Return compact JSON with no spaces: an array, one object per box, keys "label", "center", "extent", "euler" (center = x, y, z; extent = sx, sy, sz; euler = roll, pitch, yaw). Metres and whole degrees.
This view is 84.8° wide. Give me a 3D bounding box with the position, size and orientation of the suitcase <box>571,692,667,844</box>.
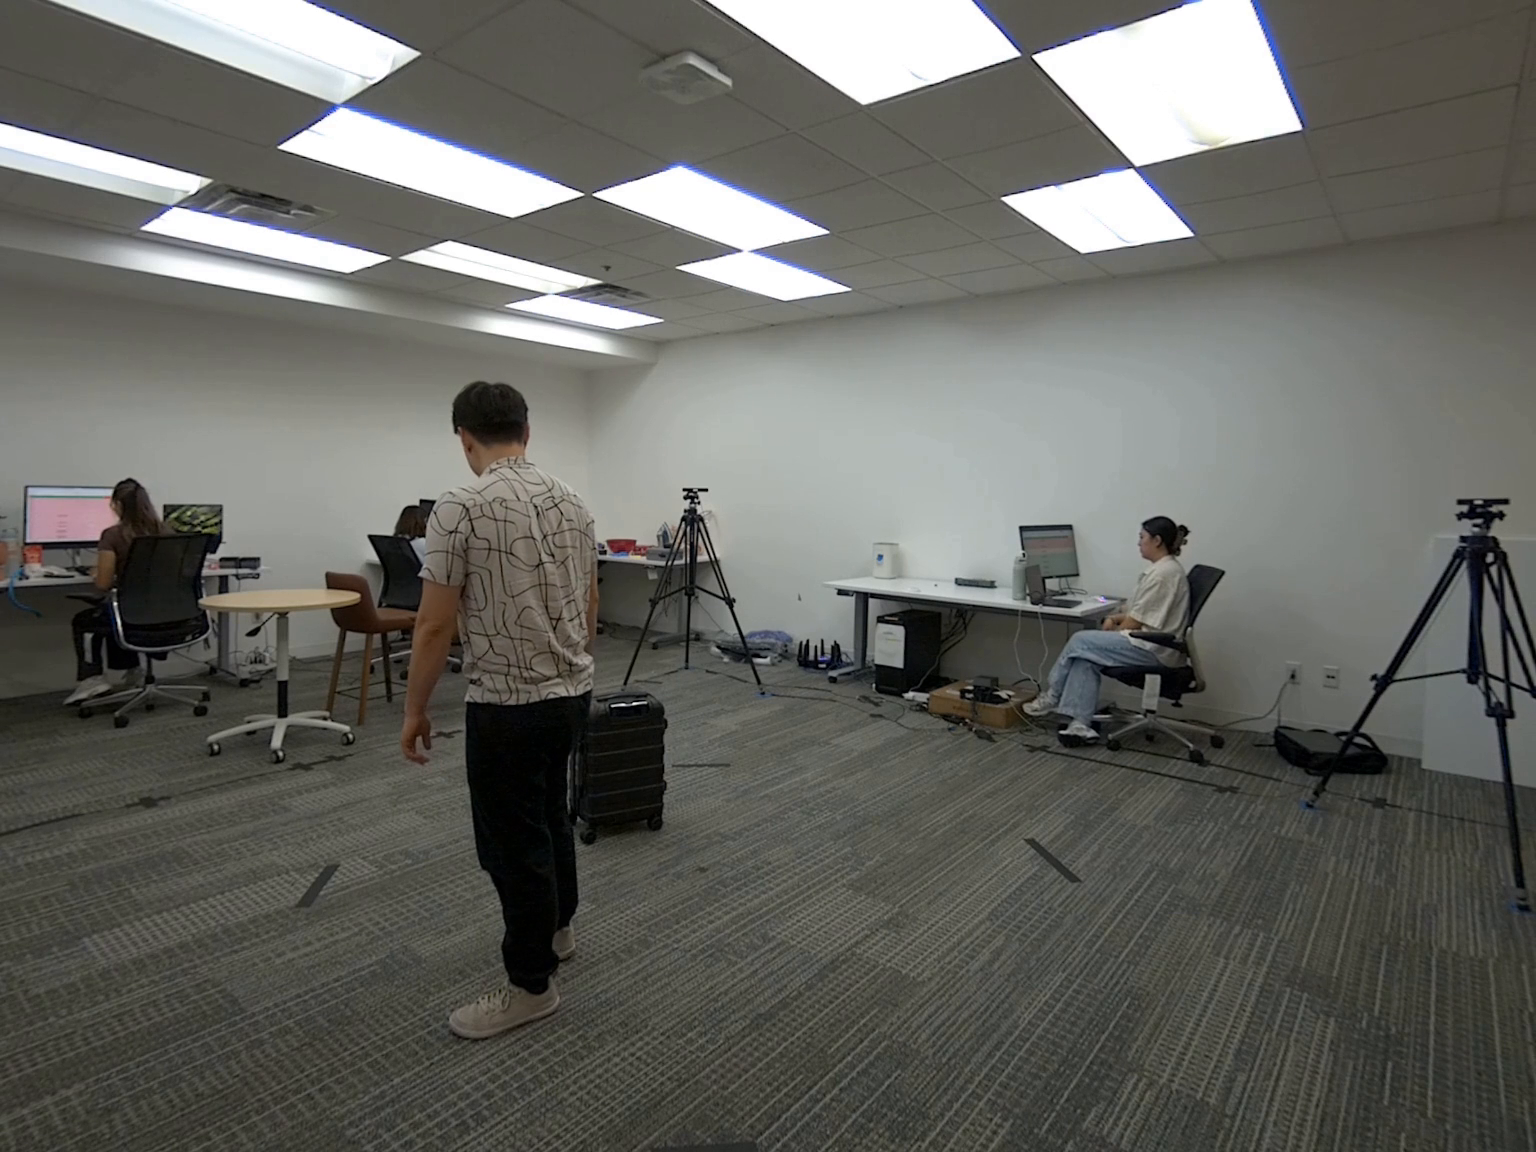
[{"label":"suitcase","center":[-0.635,0.747,3.493],"extent":[0.365,0.548,0.256],"euler":[-1,4,-30]}]
